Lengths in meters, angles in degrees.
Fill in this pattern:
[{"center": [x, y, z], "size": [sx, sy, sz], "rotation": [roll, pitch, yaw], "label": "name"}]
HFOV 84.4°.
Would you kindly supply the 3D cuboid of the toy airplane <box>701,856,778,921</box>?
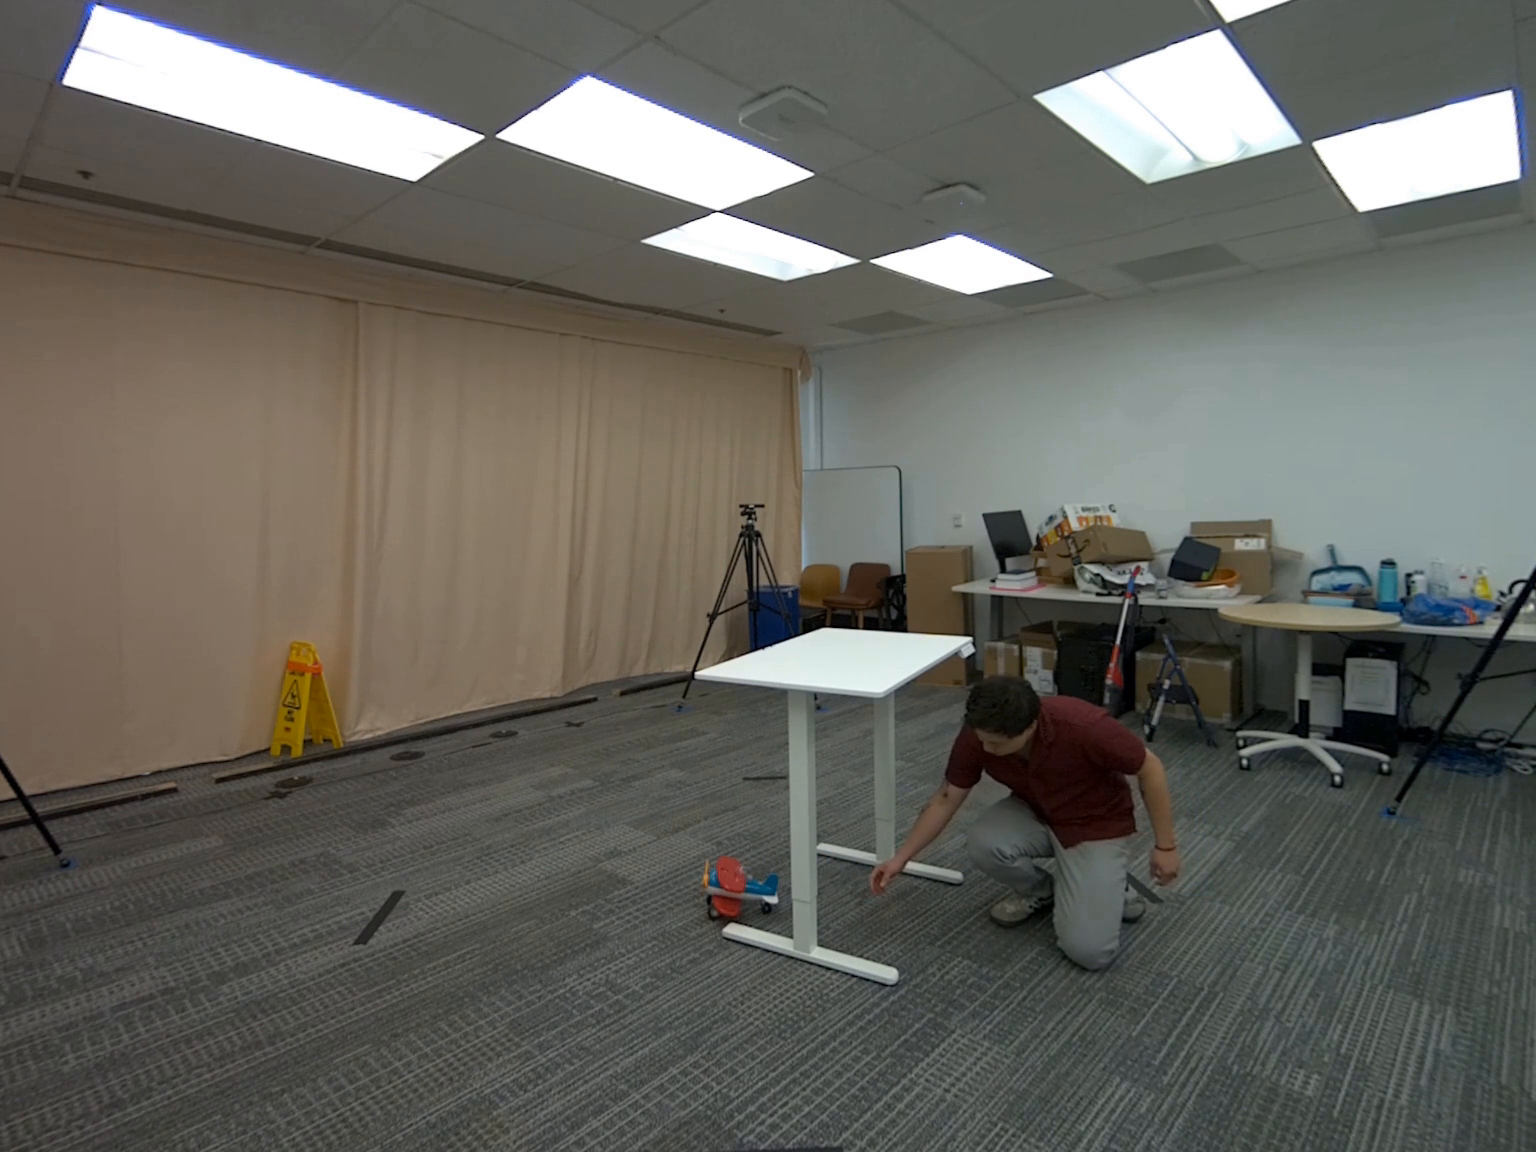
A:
[{"center": [-0.093, 1.077, 2.888], "size": [0.252, 0.156, 0.258], "rotation": [-4, 6, -31], "label": "toy airplane"}]
